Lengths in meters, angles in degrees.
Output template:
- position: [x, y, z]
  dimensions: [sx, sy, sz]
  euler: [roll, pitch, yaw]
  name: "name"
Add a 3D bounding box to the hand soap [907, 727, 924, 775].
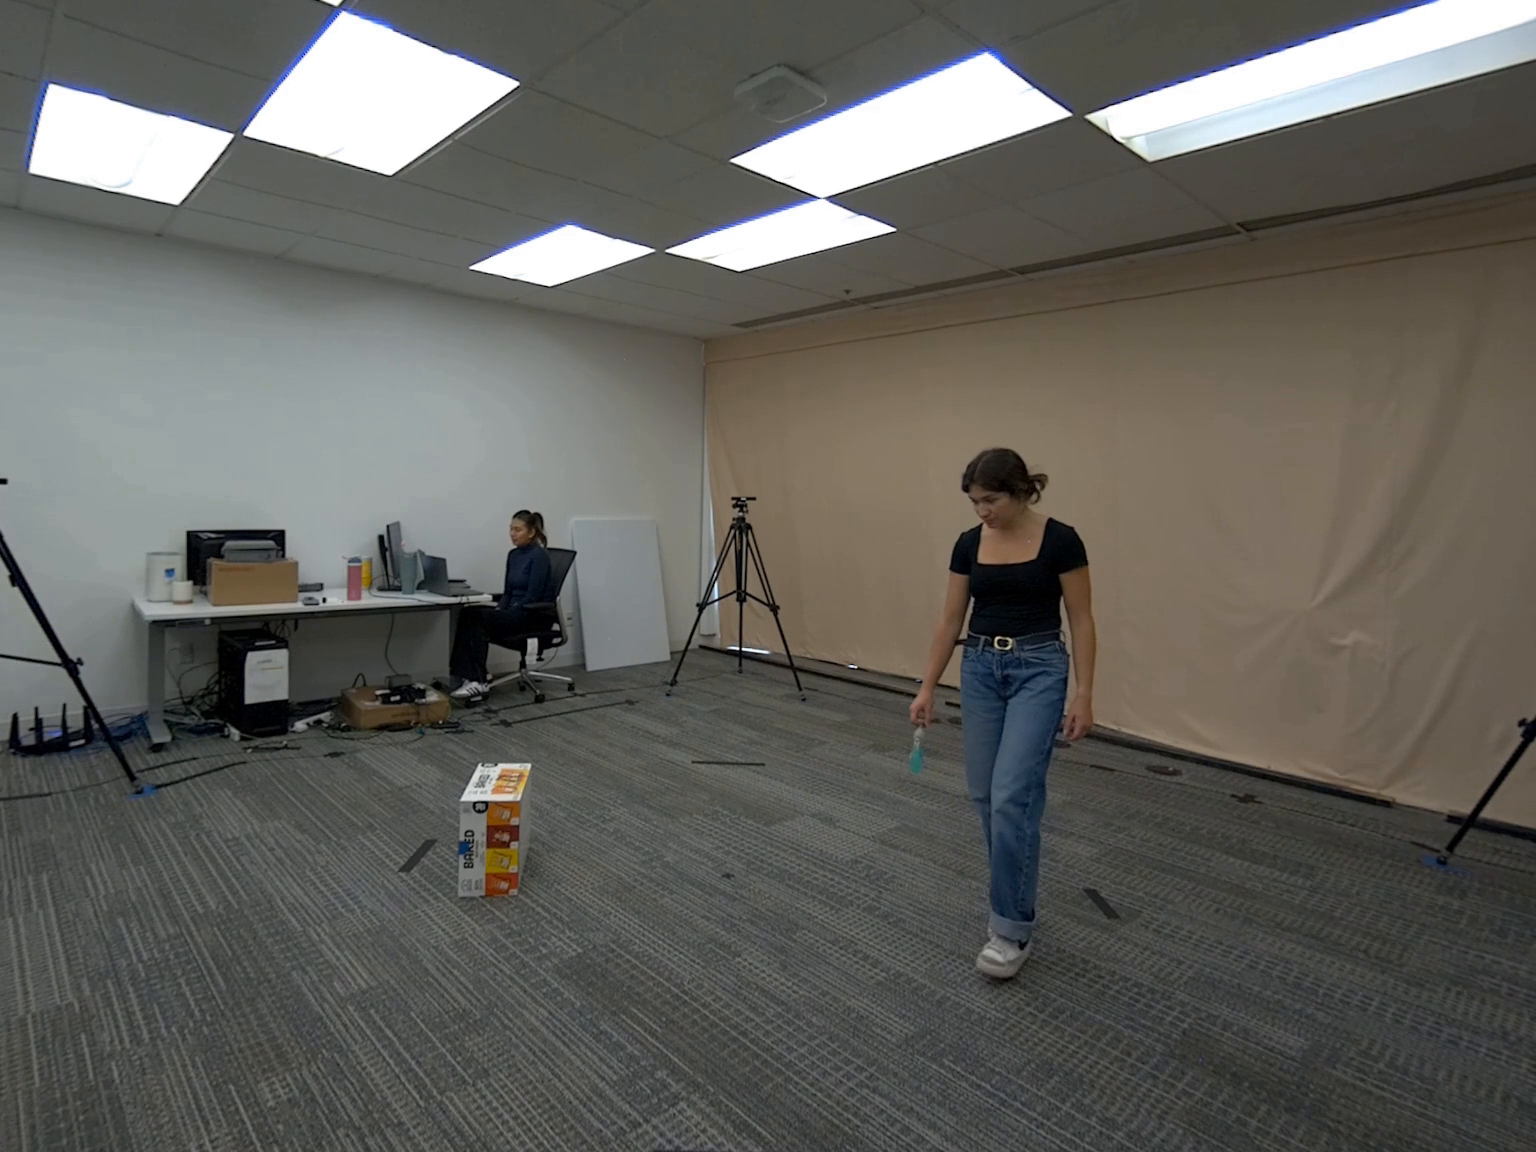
- position: [0.482, 0.547, 2.726]
  dimensions: [0.044, 0.168, 0.084]
  euler: [7, 2, 11]
  name: "hand soap"
